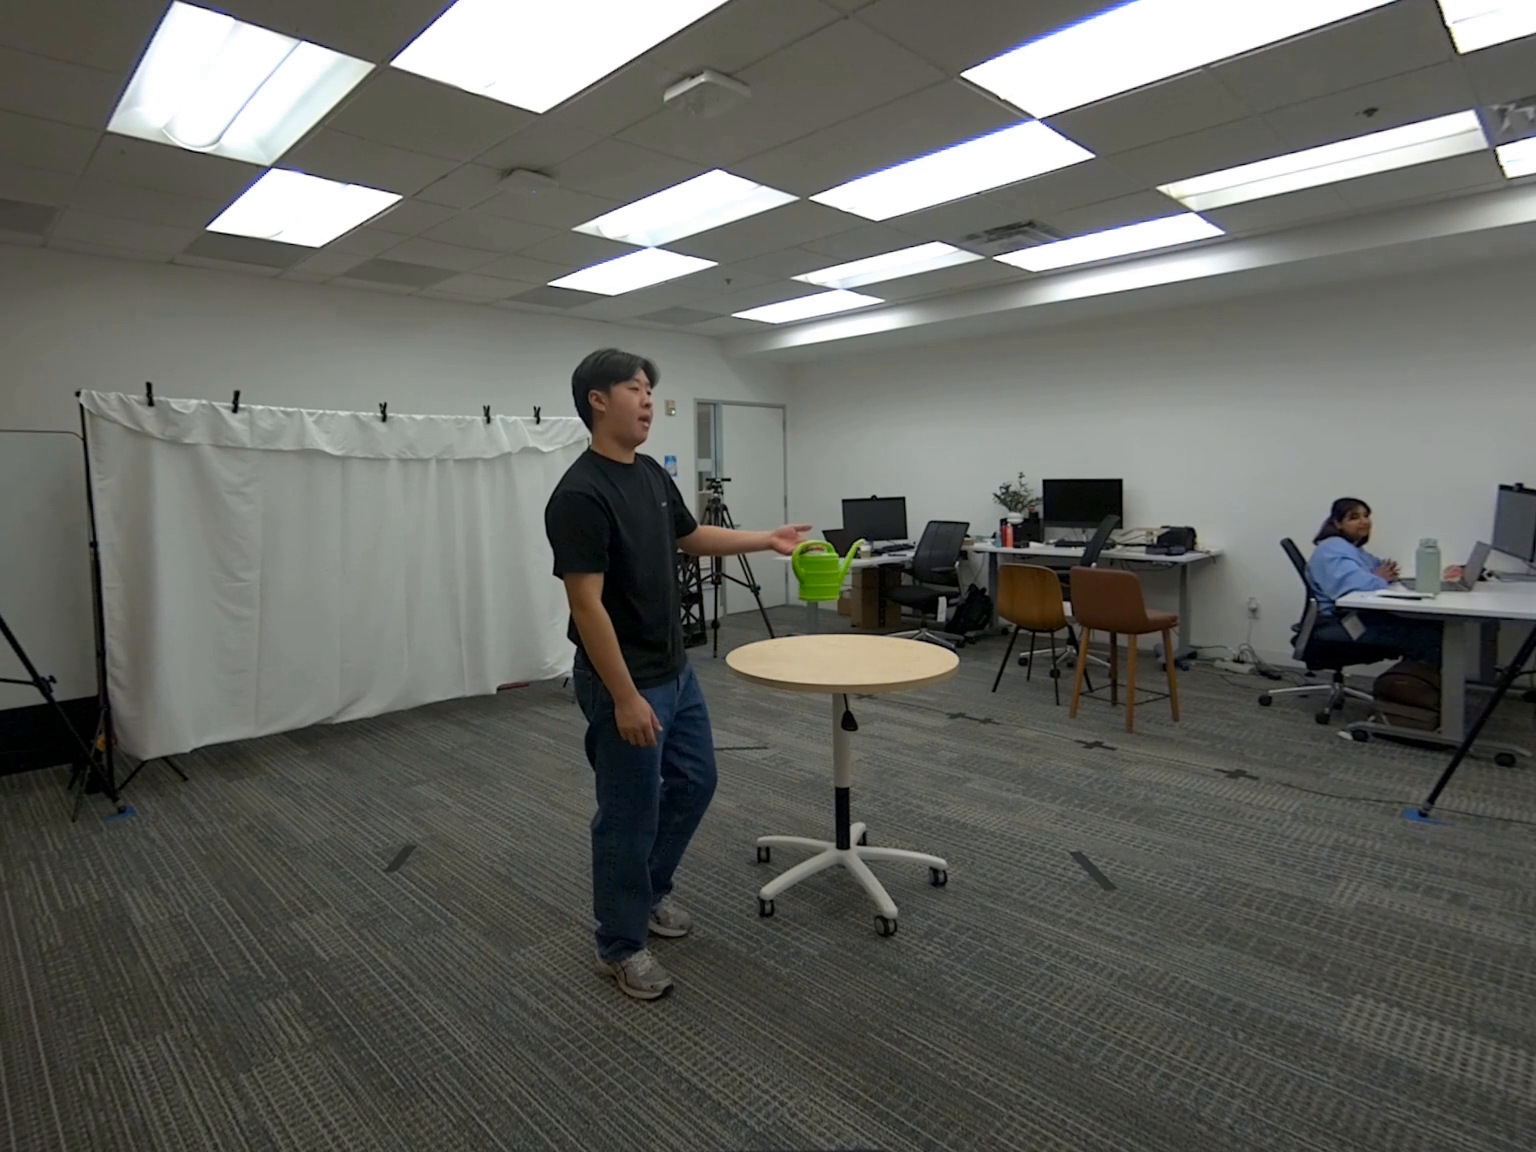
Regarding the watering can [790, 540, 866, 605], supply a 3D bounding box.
[{"bbox_3d":[0.196,-0.015,2.509,0.273,0.177,0.100,-2,-1,-22],"label":"watering can"}]
